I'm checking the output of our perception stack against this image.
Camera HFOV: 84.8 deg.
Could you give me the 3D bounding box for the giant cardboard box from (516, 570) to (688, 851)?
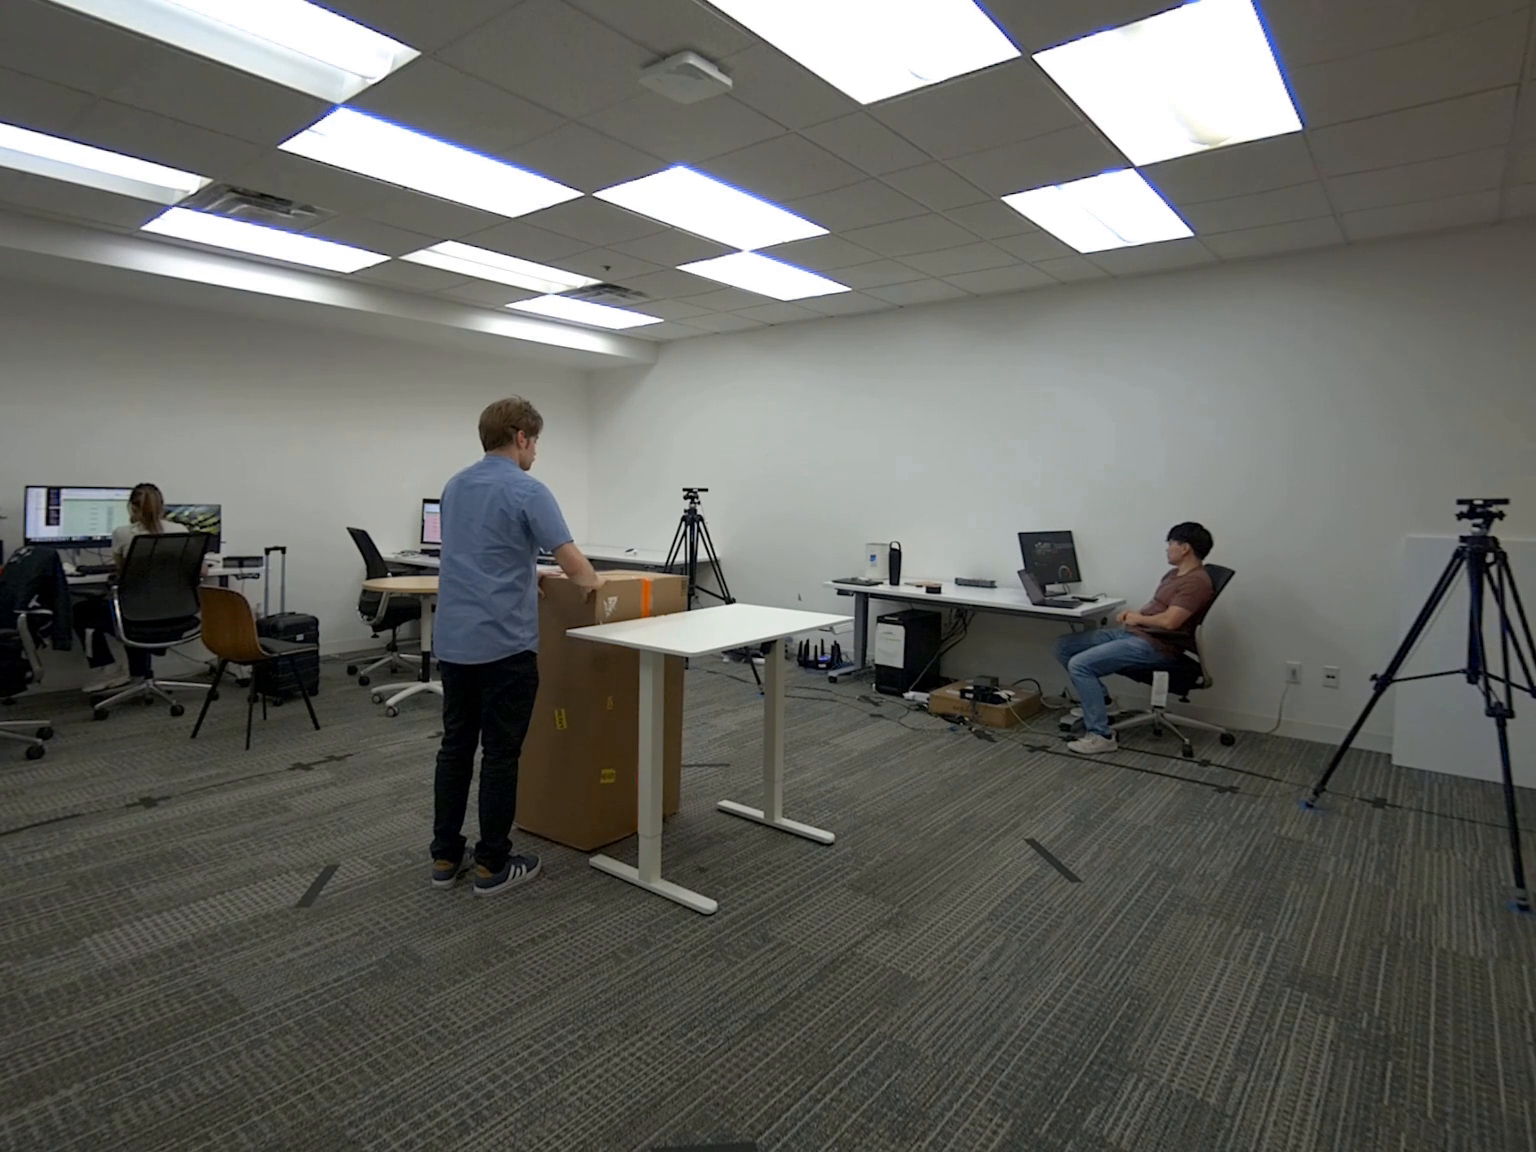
[{"bbox_3d":[-0.696,0.503,3.550,0.440,1.025,0.560,3,2,35],"label":"giant cardboard box"}]
